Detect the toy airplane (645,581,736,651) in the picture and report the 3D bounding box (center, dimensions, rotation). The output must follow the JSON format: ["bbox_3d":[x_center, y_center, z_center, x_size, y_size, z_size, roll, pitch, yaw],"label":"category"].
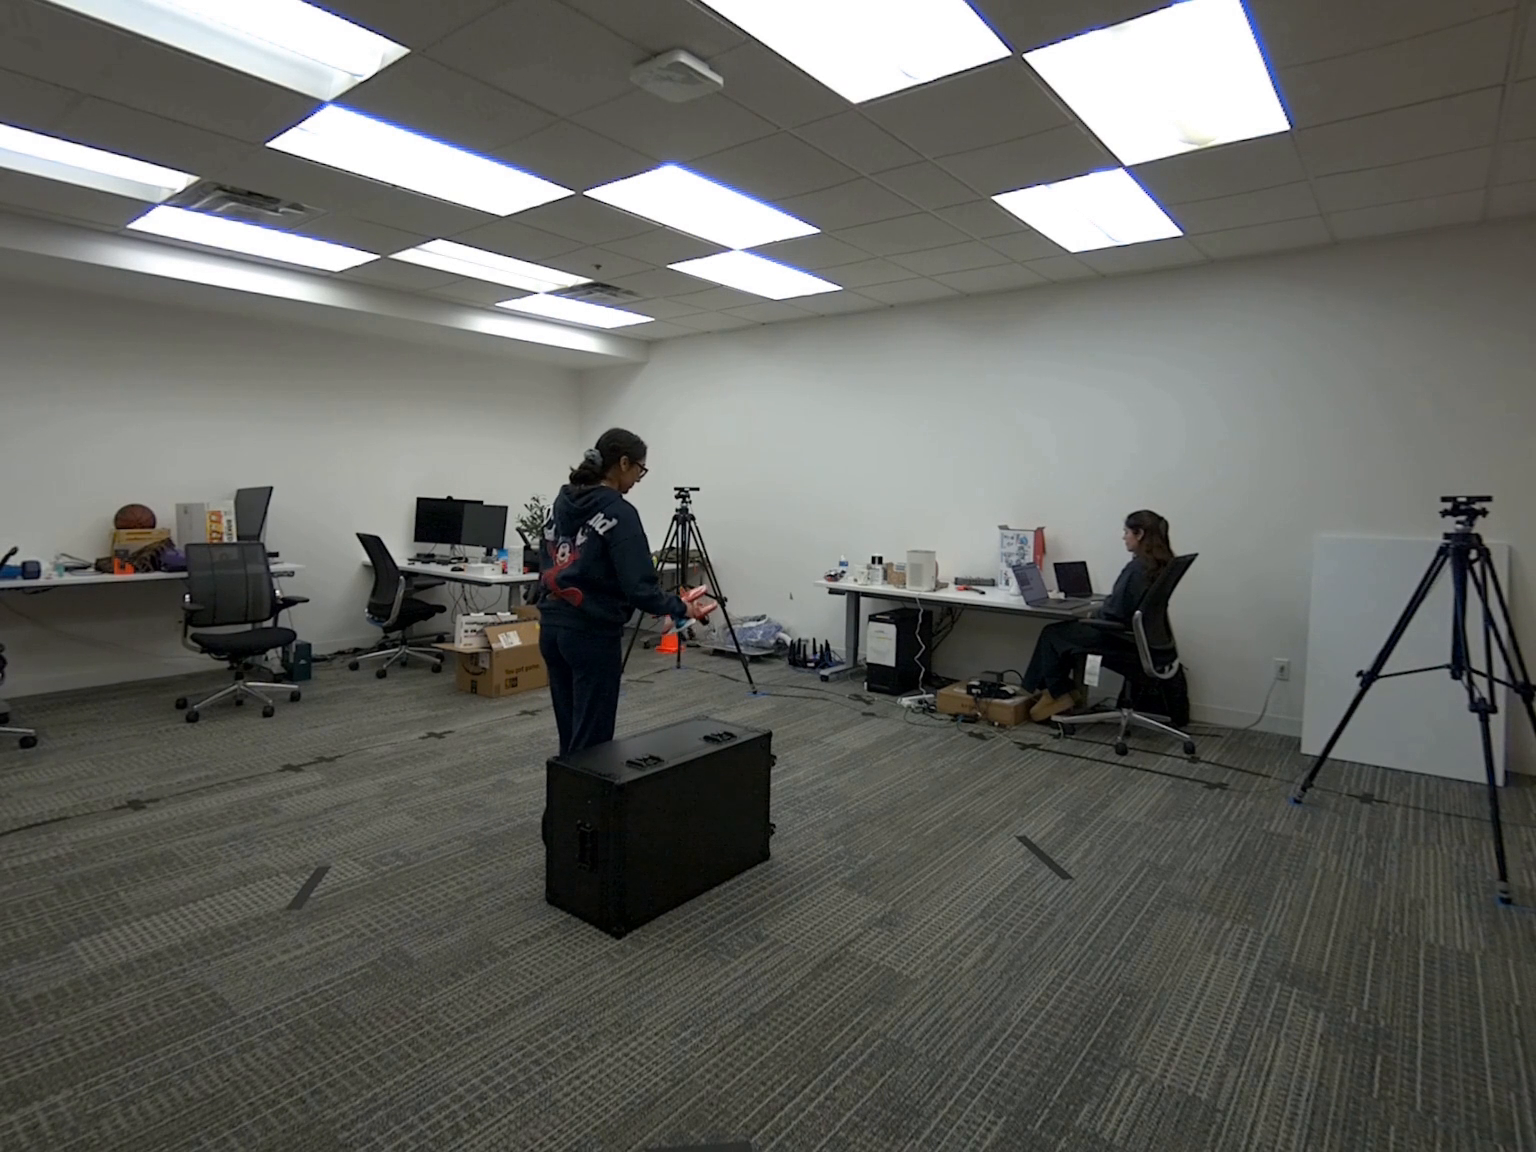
[{"bbox_3d":[-0.312,0.157,3.314,0.249,0.155,0.263,-31,6,-20],"label":"toy airplane"}]
